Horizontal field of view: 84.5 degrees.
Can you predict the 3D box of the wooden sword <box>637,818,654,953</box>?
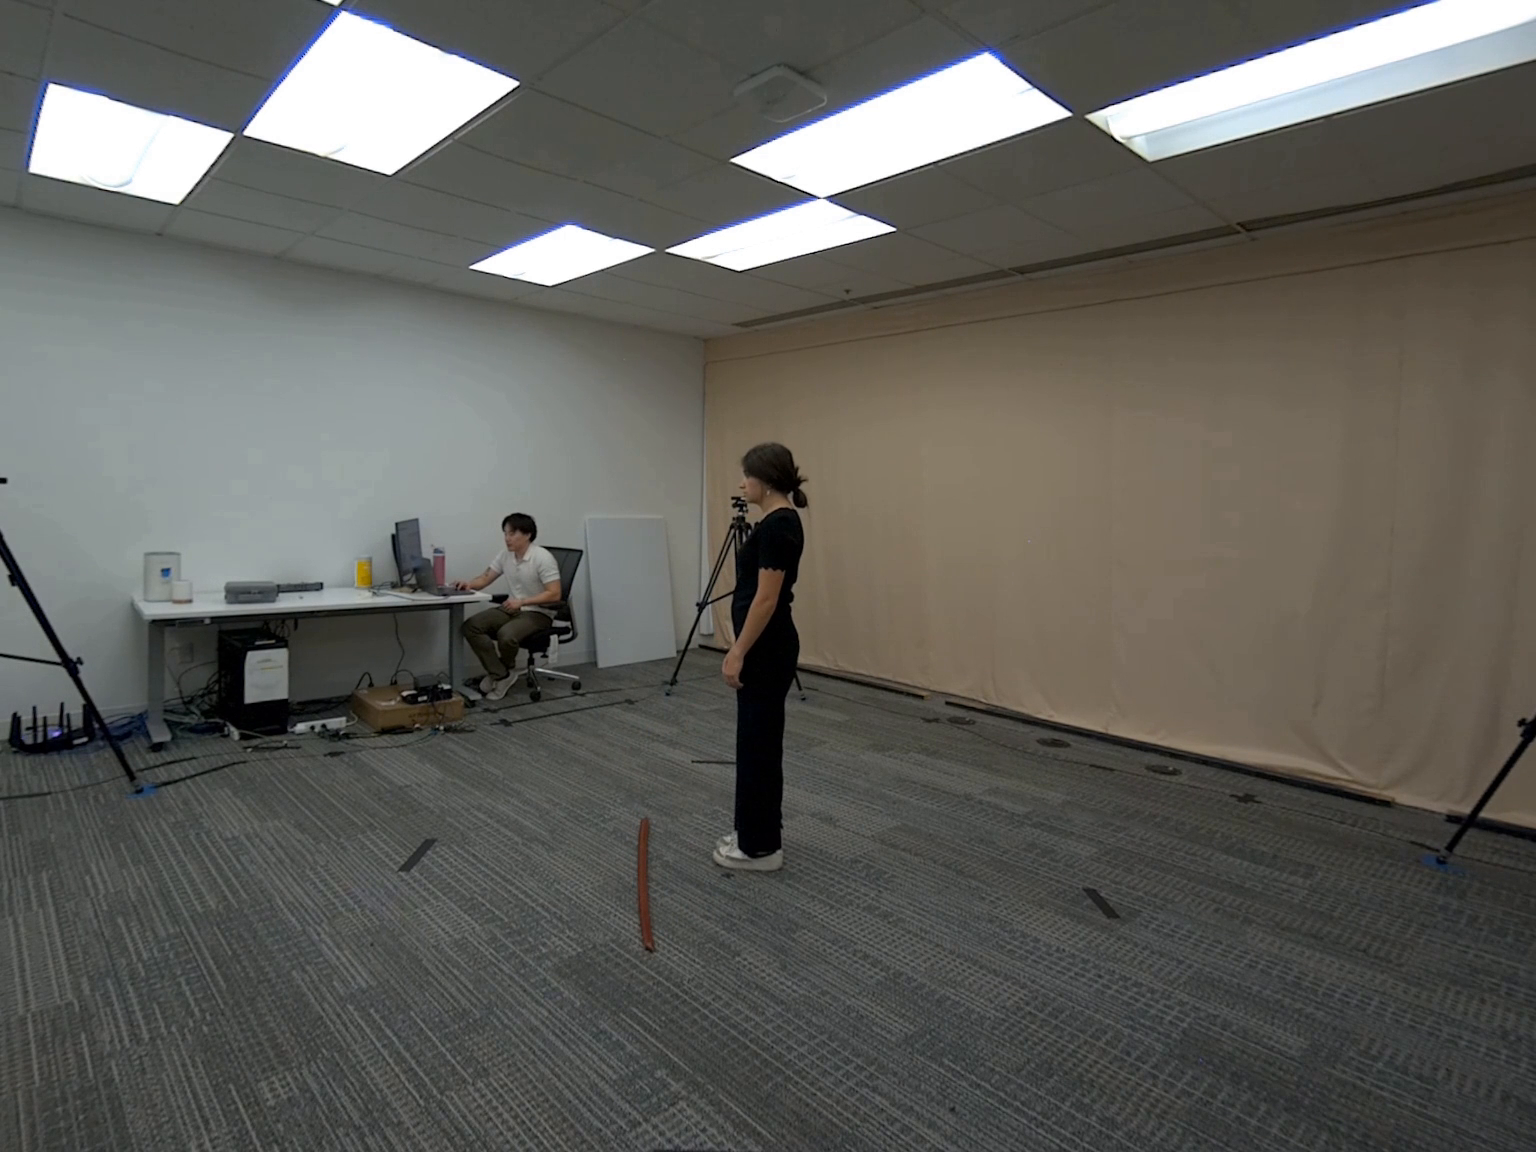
[{"bbox_3d":[-0.450,1.084,3.066,0.051,0.024,1.033,45,-1,-9],"label":"wooden sword"}]
